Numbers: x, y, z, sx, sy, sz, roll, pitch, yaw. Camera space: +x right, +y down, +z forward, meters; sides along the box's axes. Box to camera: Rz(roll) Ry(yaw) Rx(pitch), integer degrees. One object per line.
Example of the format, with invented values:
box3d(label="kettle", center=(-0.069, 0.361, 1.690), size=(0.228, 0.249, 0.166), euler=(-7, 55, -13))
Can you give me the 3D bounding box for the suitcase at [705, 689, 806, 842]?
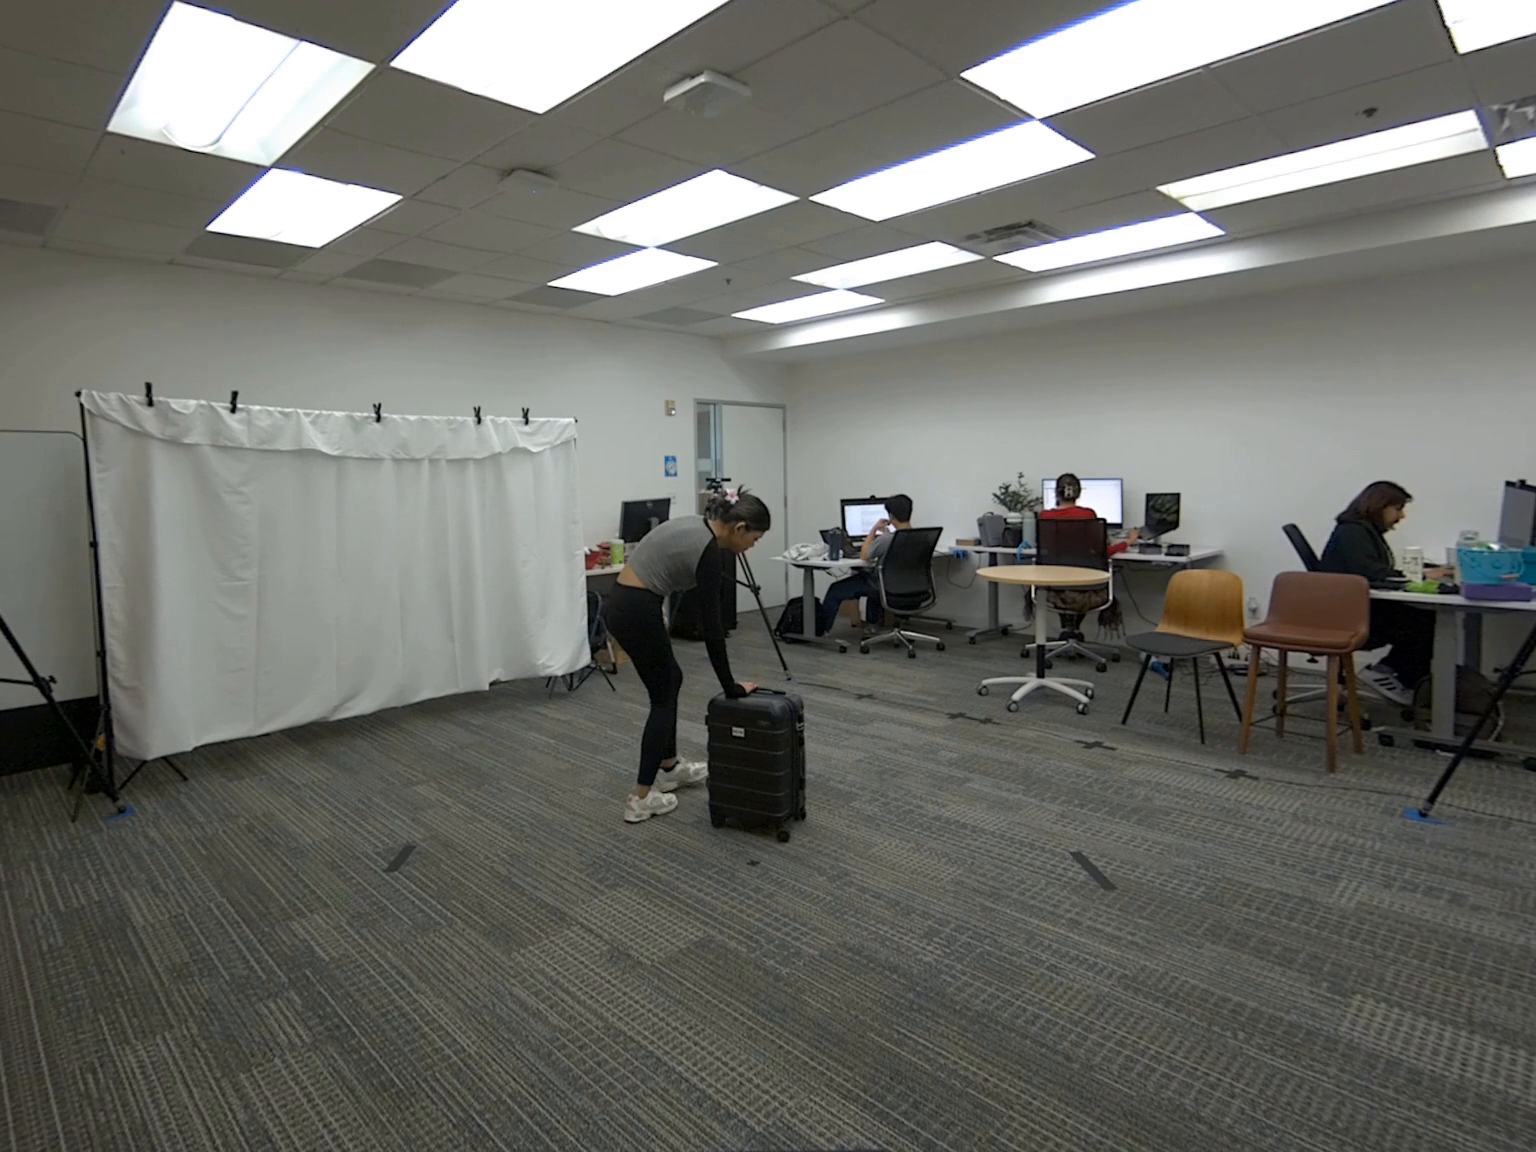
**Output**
box3d(label="suitcase", center=(-0.044, 0.733, 3.439), size=(0.385, 0.547, 0.243), euler=(1, 5, 30))
